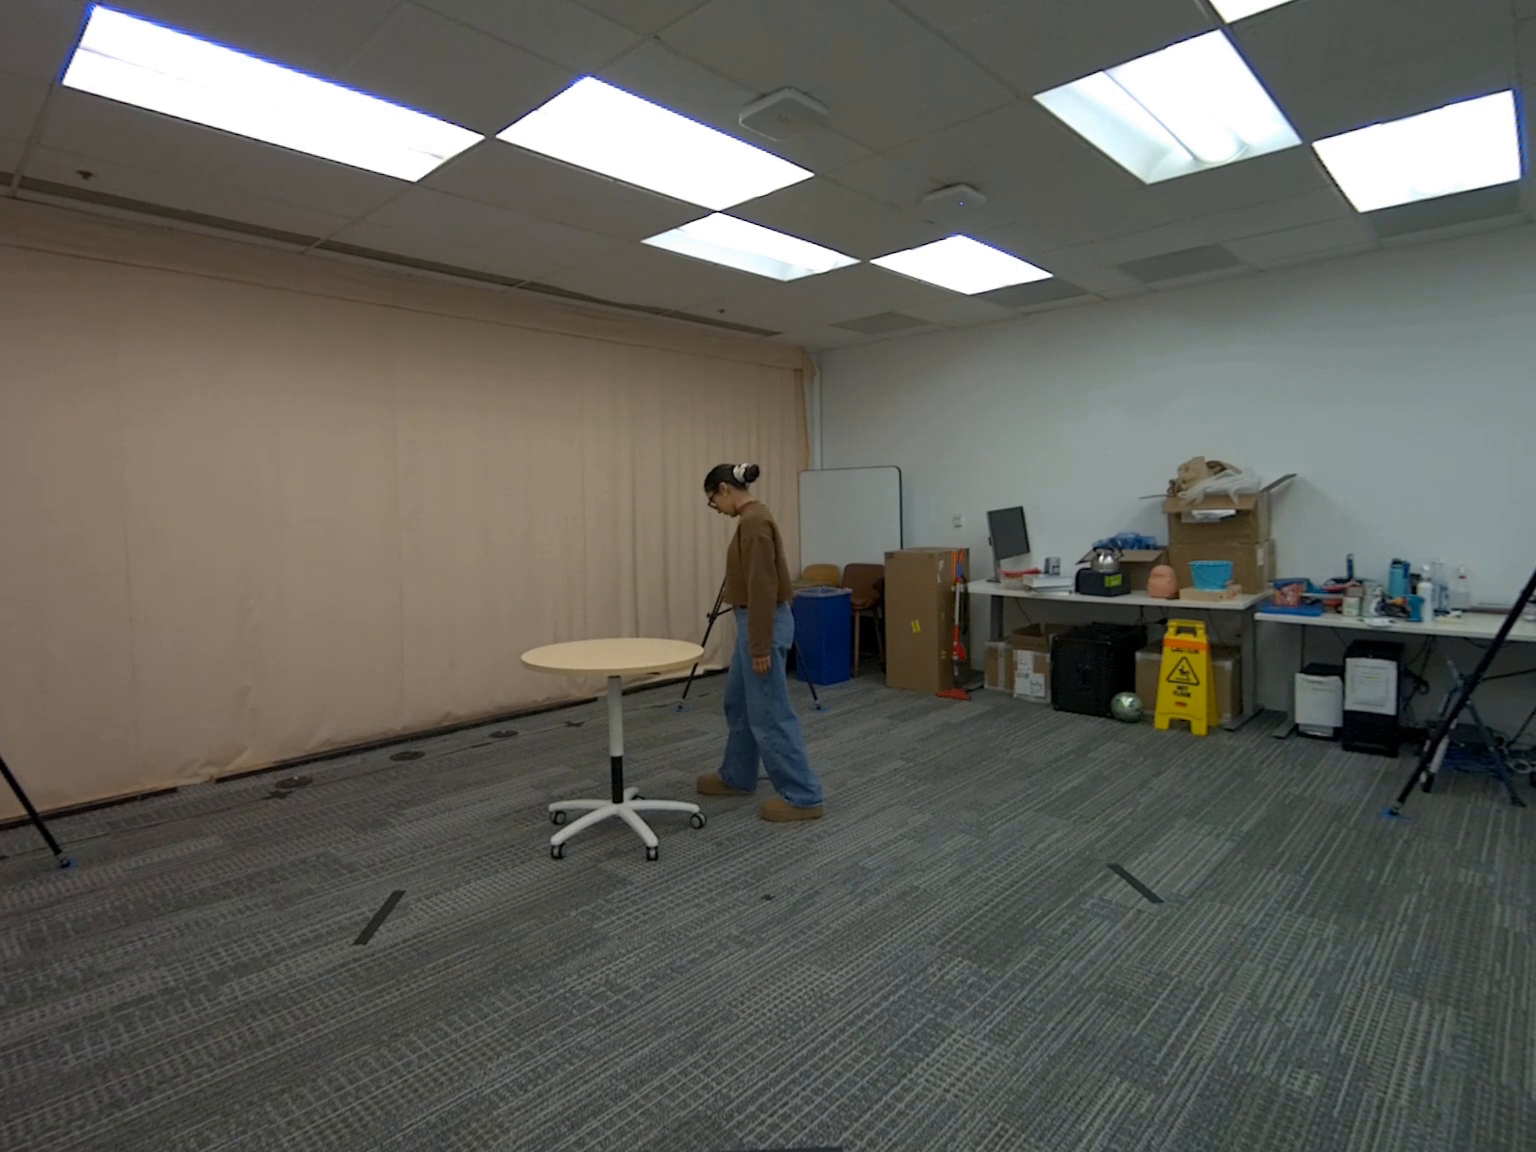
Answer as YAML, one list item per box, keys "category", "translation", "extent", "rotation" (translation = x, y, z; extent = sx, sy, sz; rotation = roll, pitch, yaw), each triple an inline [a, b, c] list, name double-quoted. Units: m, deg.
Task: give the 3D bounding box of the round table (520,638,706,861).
- category: "round table"
  translation: [-0.643, 0.715, 3.576]
  extent: [0.763, 0.792, 0.766]
  rotation: [-1, 4, -2]
